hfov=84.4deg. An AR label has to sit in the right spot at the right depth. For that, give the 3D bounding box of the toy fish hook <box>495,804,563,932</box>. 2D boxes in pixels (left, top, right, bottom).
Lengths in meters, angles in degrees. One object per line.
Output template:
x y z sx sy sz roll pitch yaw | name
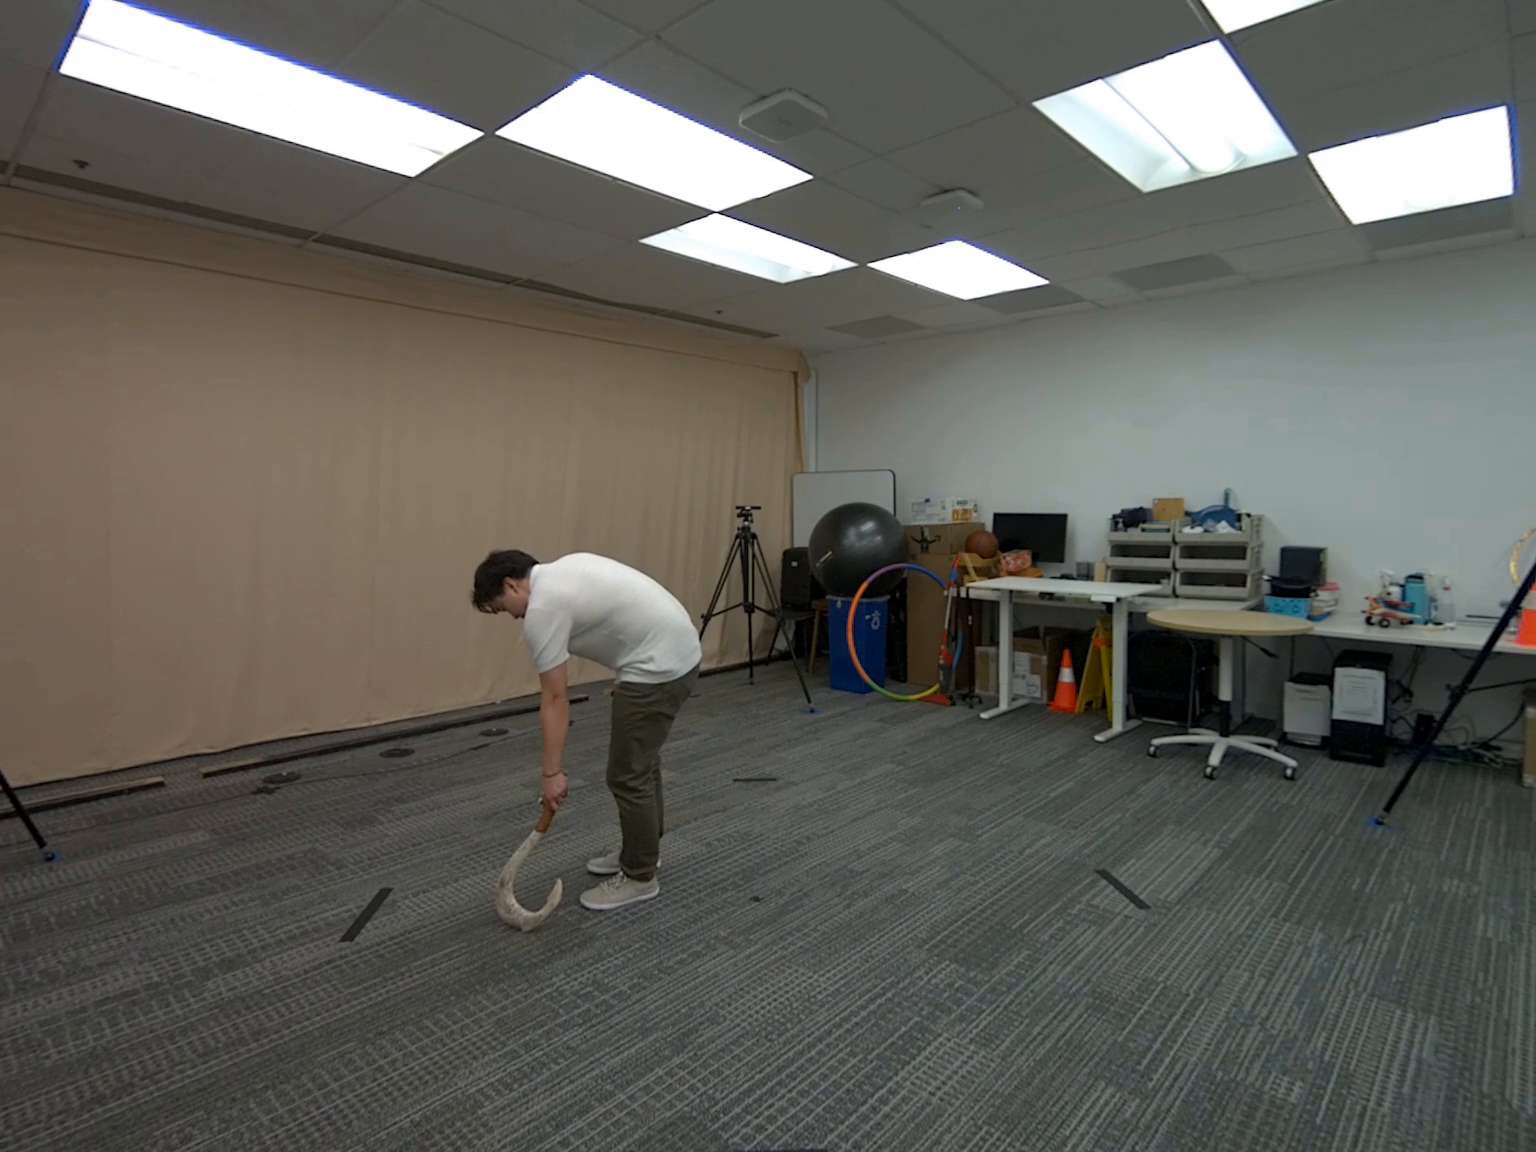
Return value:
-0.740 0.914 2.804 0.228 0.507 0.047 21 -6 12 | toy fish hook
